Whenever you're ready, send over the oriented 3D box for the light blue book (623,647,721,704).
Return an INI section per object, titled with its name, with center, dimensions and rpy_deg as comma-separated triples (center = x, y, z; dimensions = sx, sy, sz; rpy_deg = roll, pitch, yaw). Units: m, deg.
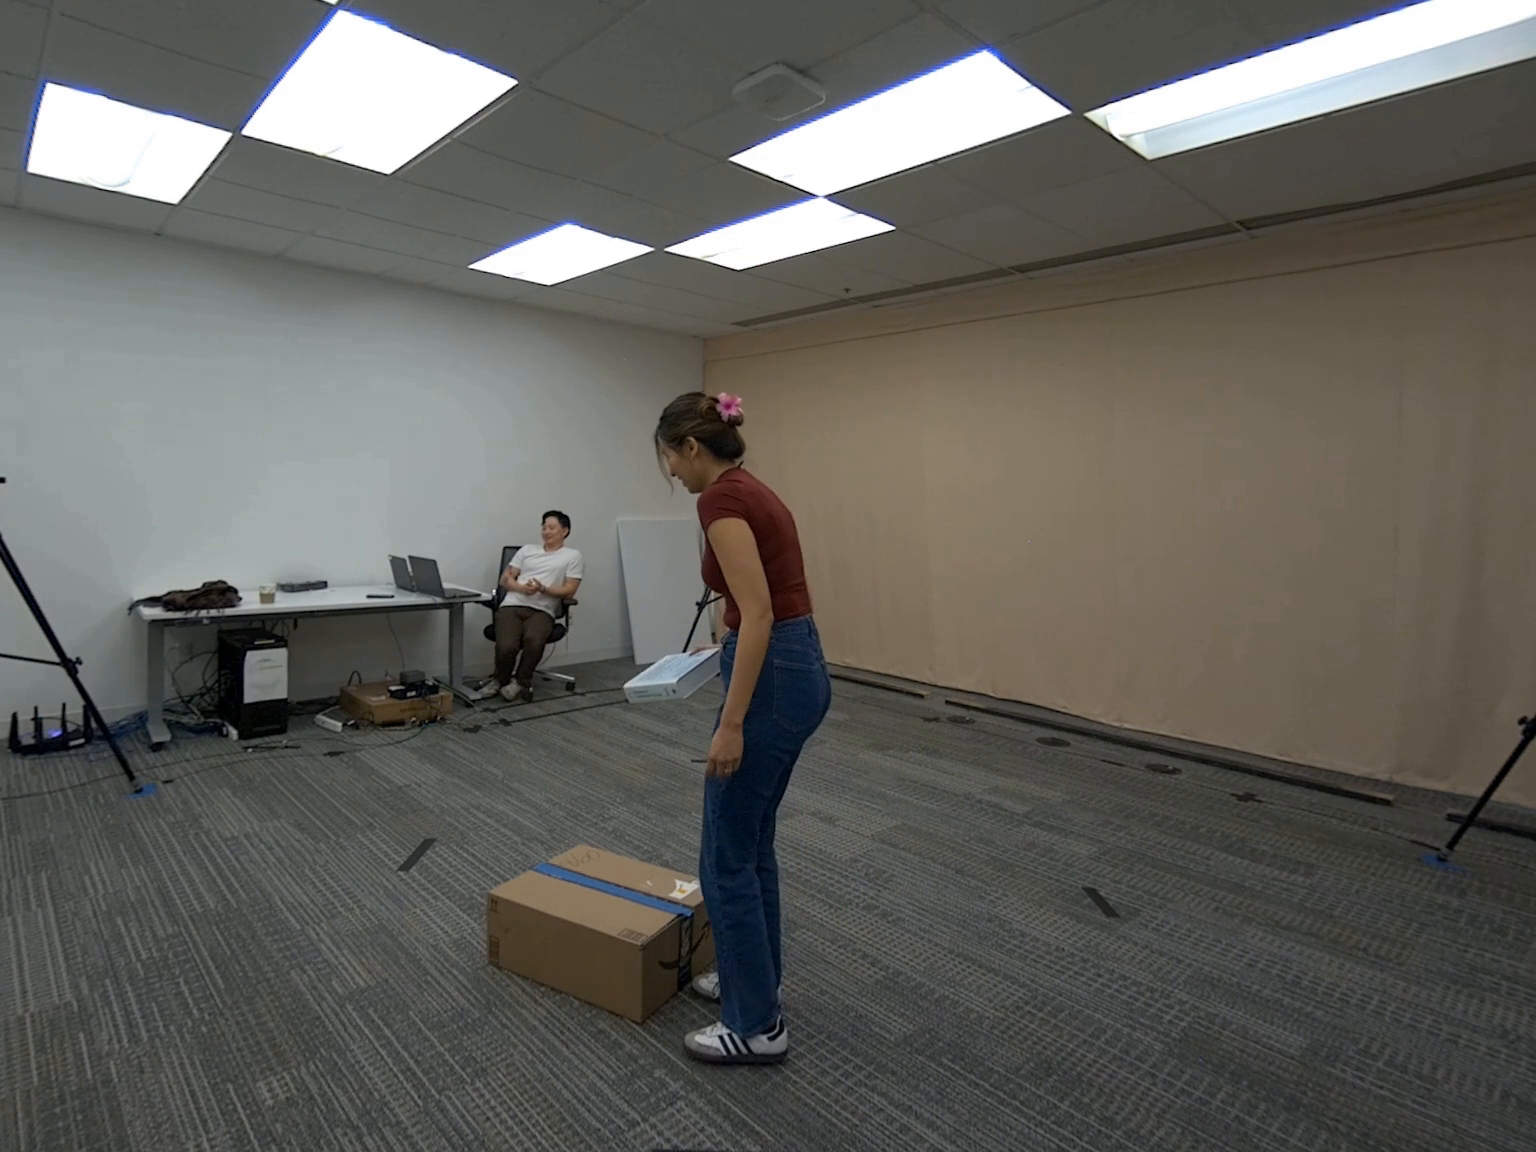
[light blue book]
center = -0.274, 0.301, 2.394
dimensions = 0.266, 0.058, 0.190
rpy_deg = -12, 18, 48
